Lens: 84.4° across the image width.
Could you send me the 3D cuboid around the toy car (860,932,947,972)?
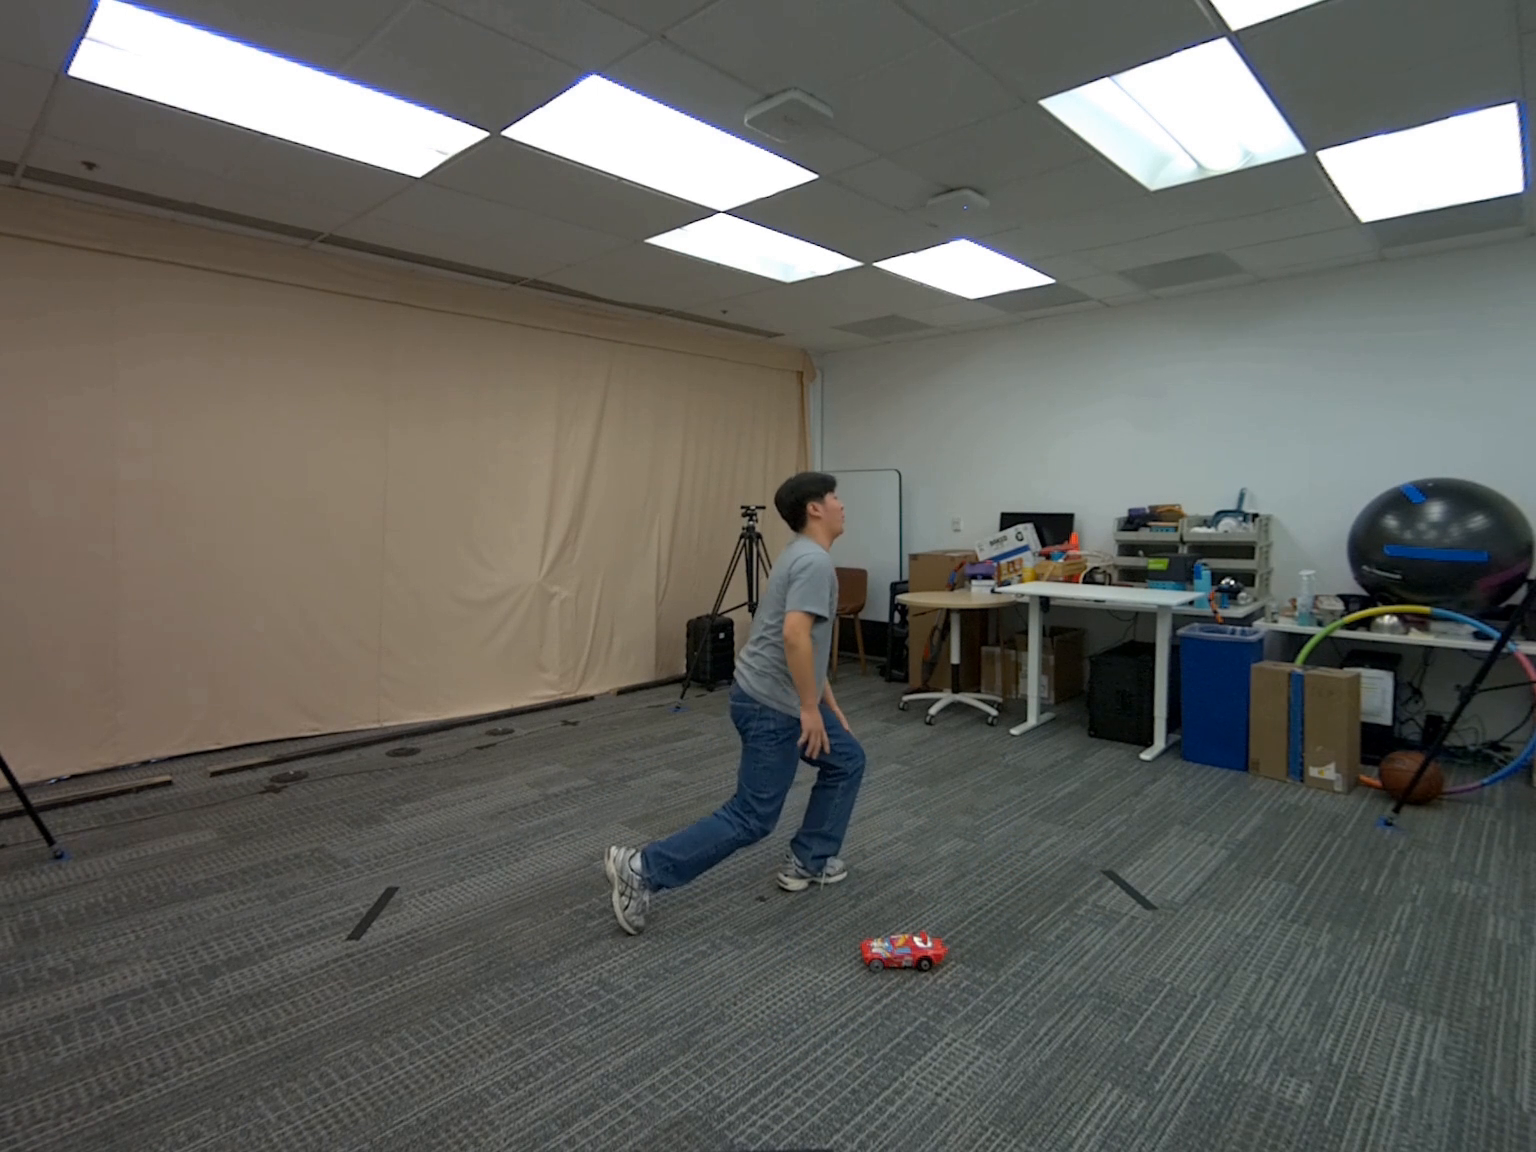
[{"bbox_3d":[0.425,1.149,2.551,0.254,0.083,0.131,-11,5,-2],"label":"toy car"}]
